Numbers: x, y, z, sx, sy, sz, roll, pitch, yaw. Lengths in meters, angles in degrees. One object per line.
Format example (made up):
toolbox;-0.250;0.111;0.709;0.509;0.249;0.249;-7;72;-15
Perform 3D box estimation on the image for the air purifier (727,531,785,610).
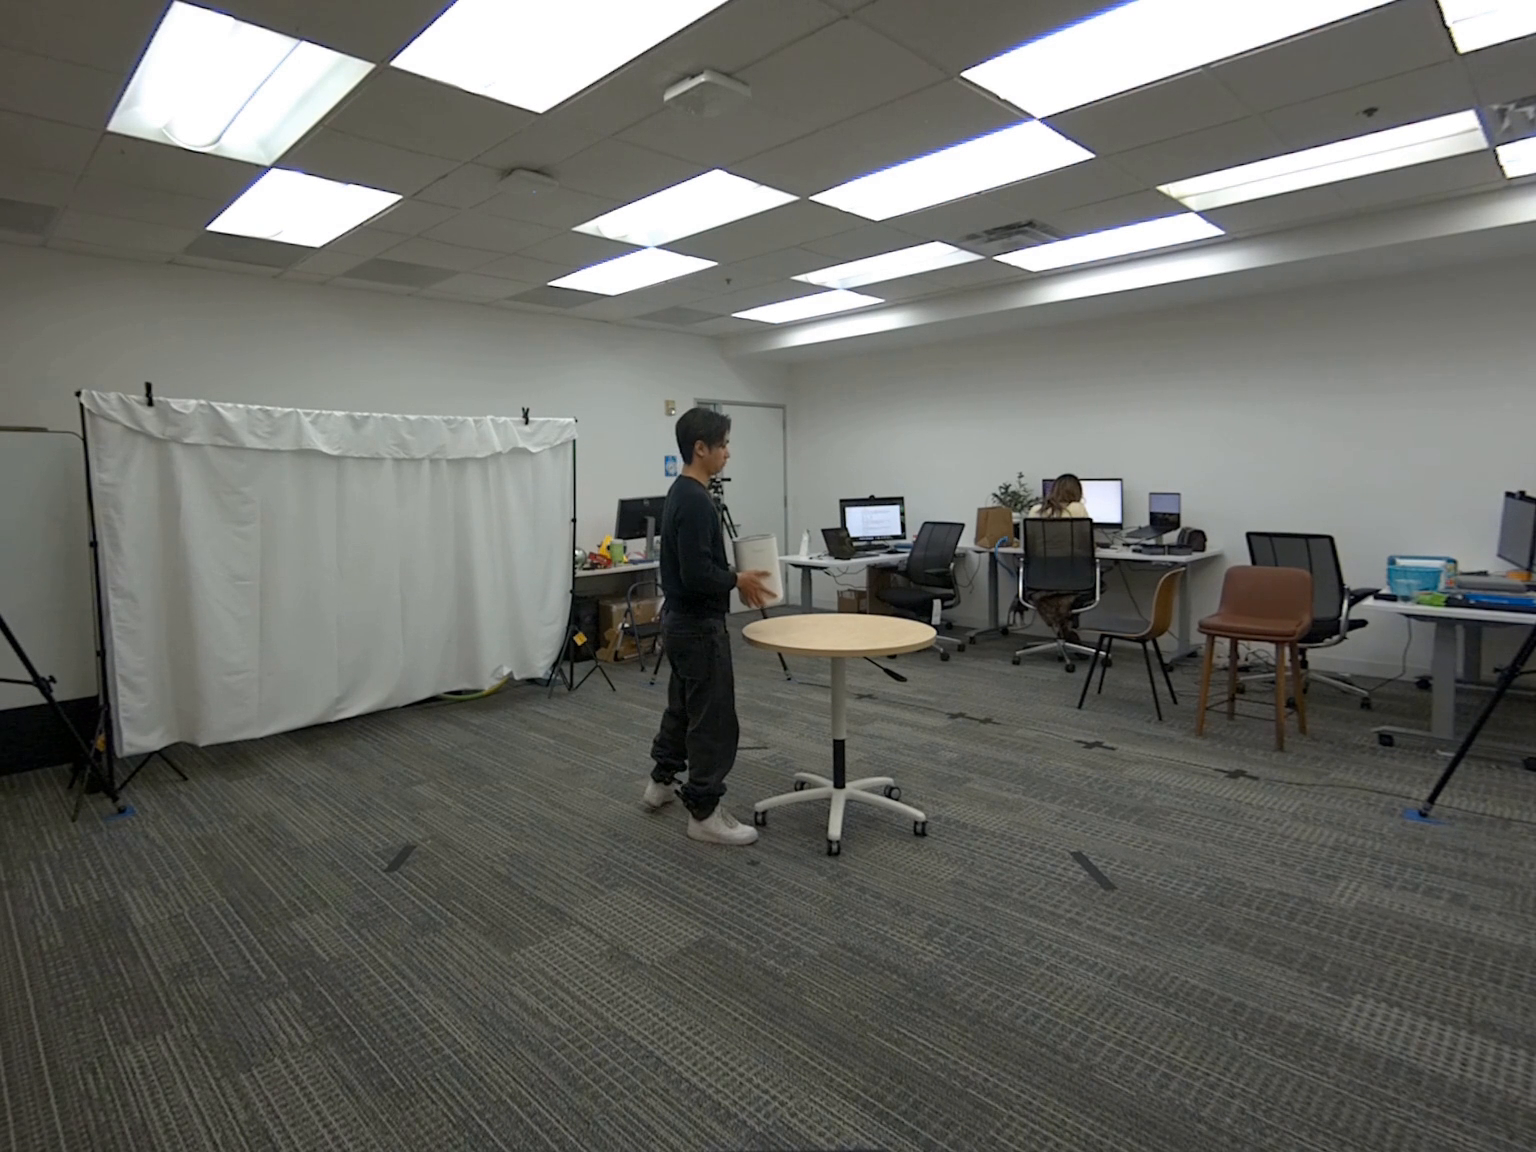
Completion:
air purifier;-0.045;-0.026;3.369;0.173;0.263;0.171;-6;8;10
